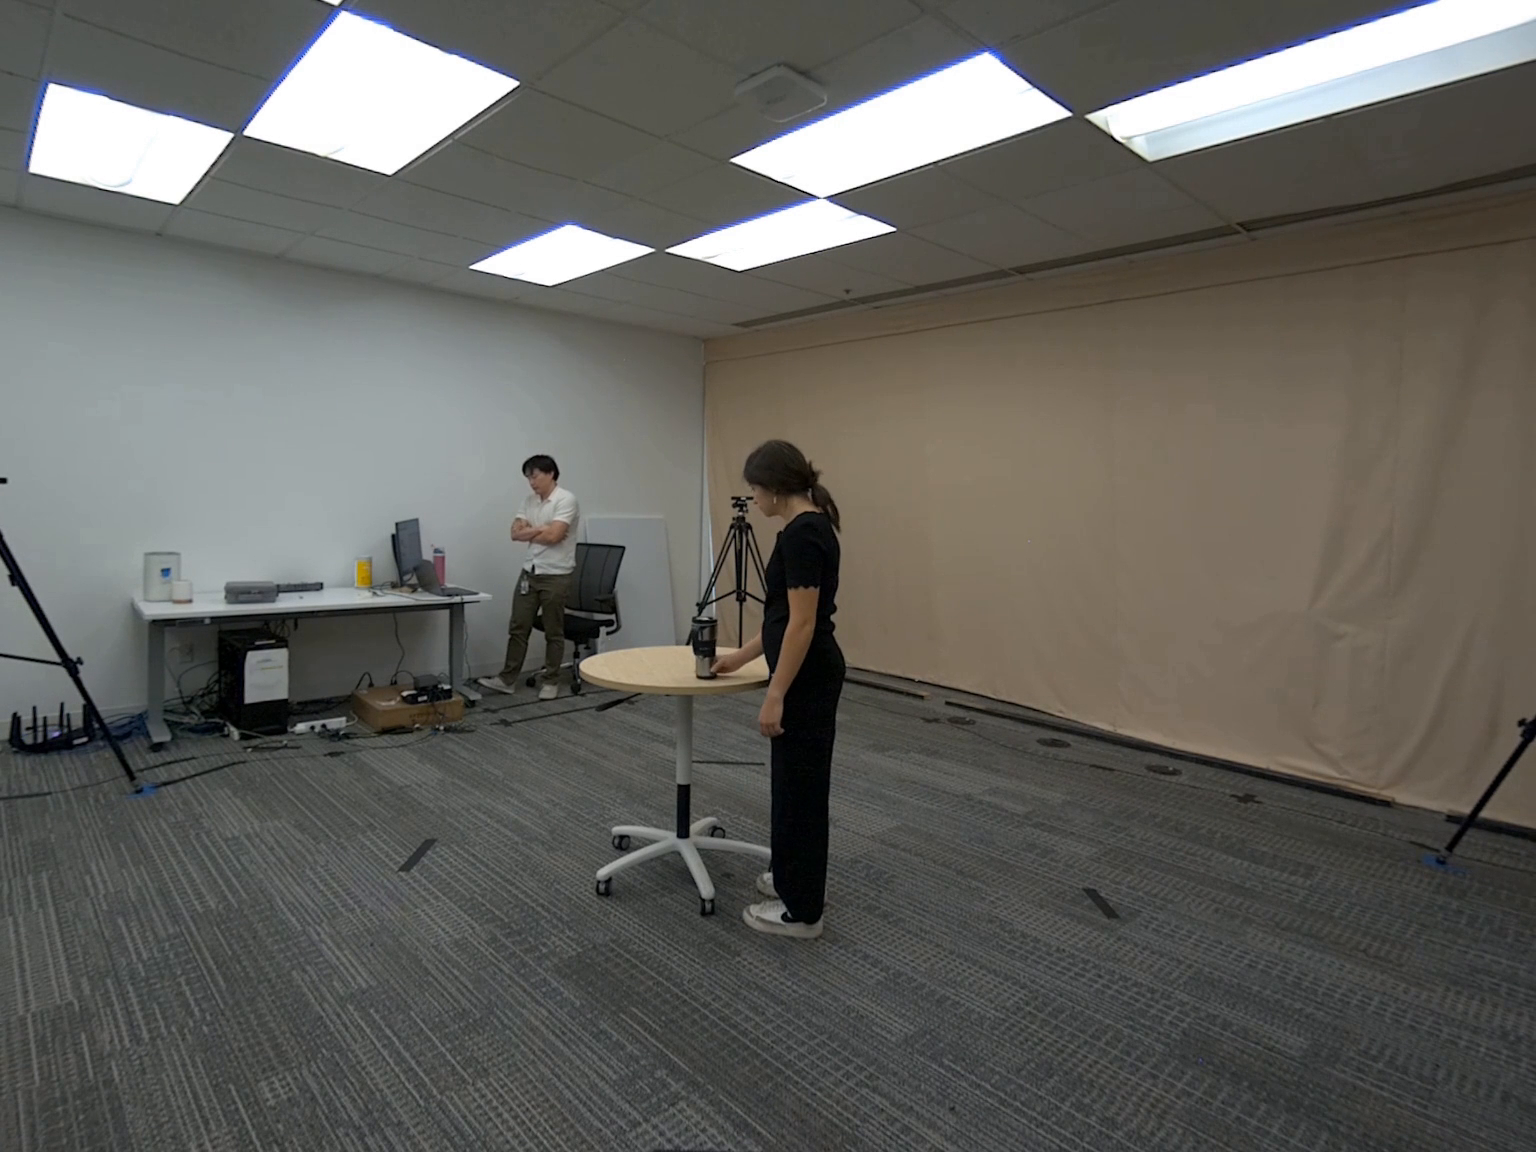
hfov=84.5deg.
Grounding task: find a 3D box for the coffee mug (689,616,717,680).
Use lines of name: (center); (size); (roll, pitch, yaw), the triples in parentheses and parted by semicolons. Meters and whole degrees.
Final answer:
coffee mug: (-0.225, 0.240, 2.806); (0.119, 0.202, 0.090); (1, 4, -42)
